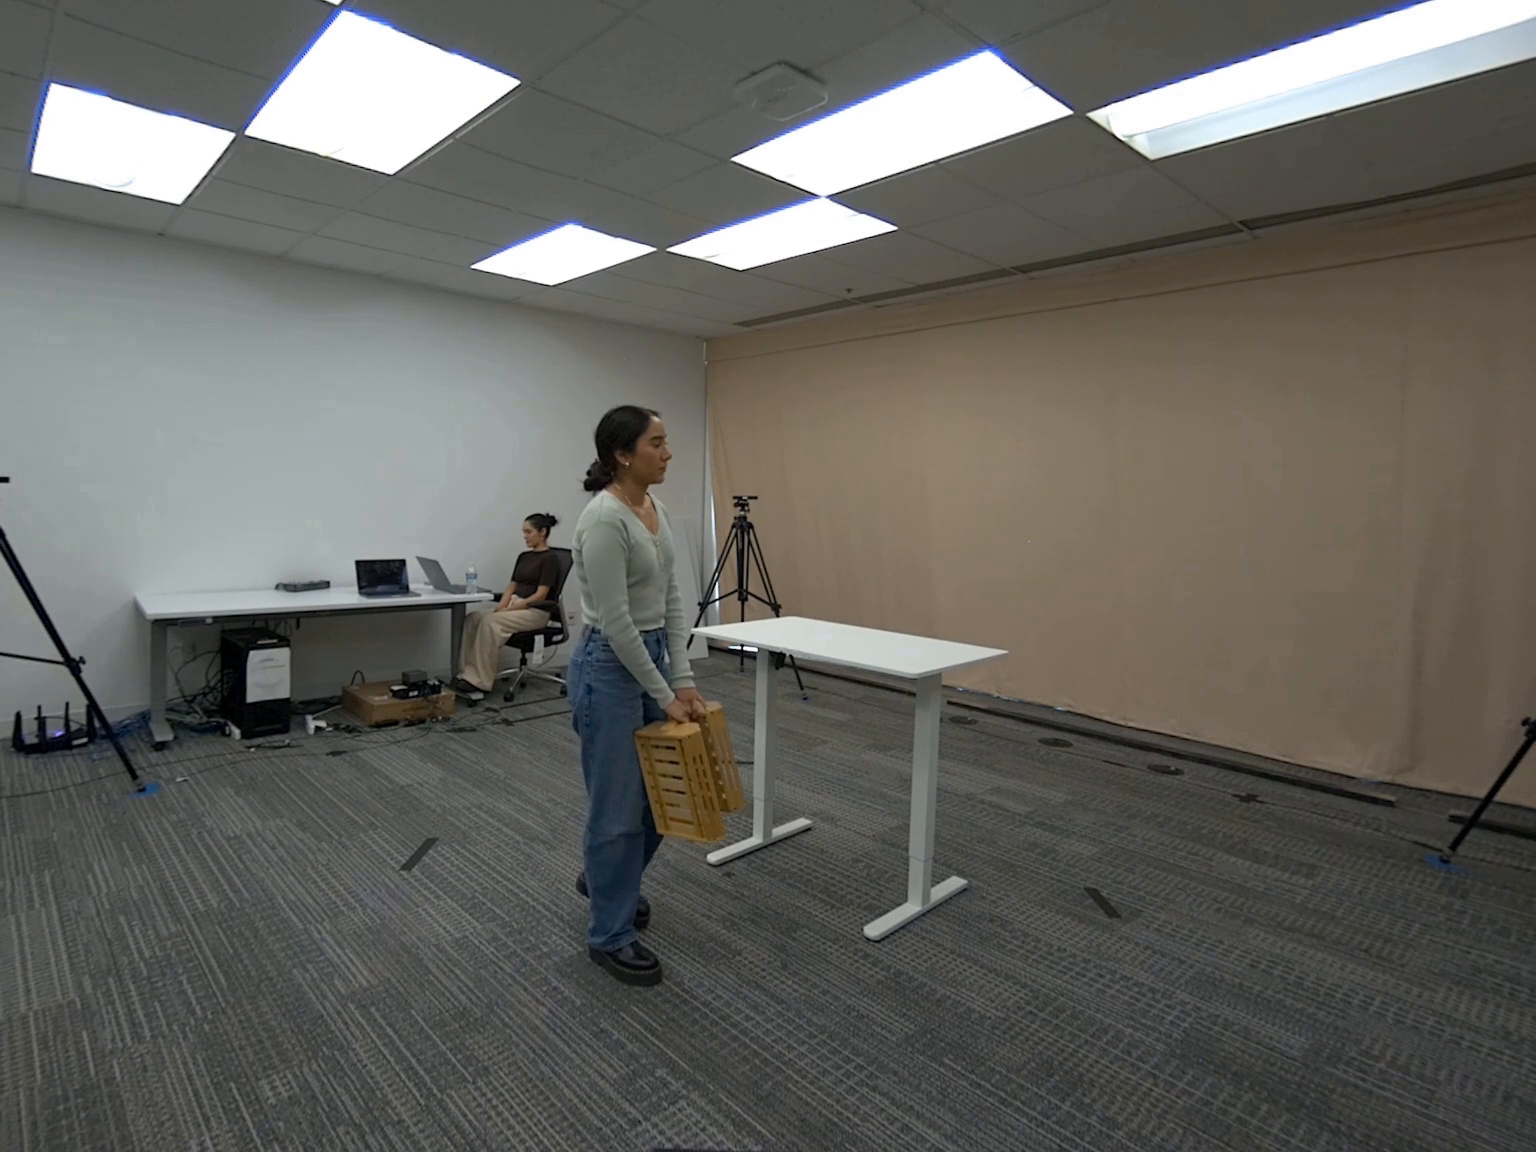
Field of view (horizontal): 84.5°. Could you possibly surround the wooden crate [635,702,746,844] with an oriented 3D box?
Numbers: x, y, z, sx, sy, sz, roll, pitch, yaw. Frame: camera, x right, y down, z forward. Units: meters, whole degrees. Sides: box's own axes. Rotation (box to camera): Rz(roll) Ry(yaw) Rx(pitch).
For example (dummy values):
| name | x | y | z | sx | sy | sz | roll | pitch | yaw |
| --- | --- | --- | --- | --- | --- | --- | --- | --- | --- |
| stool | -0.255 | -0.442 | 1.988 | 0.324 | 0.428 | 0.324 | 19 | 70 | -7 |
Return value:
| name | x | y | z | sx | sy | sz | roll | pitch | yaw |
| --- | --- | --- | --- | --- | --- | --- | --- | --- | --- |
| wooden crate | -0.202 | 0.554 | 2.411 | 0.269 | 0.323 | 0.308 | -17 | 6 | -43 |
